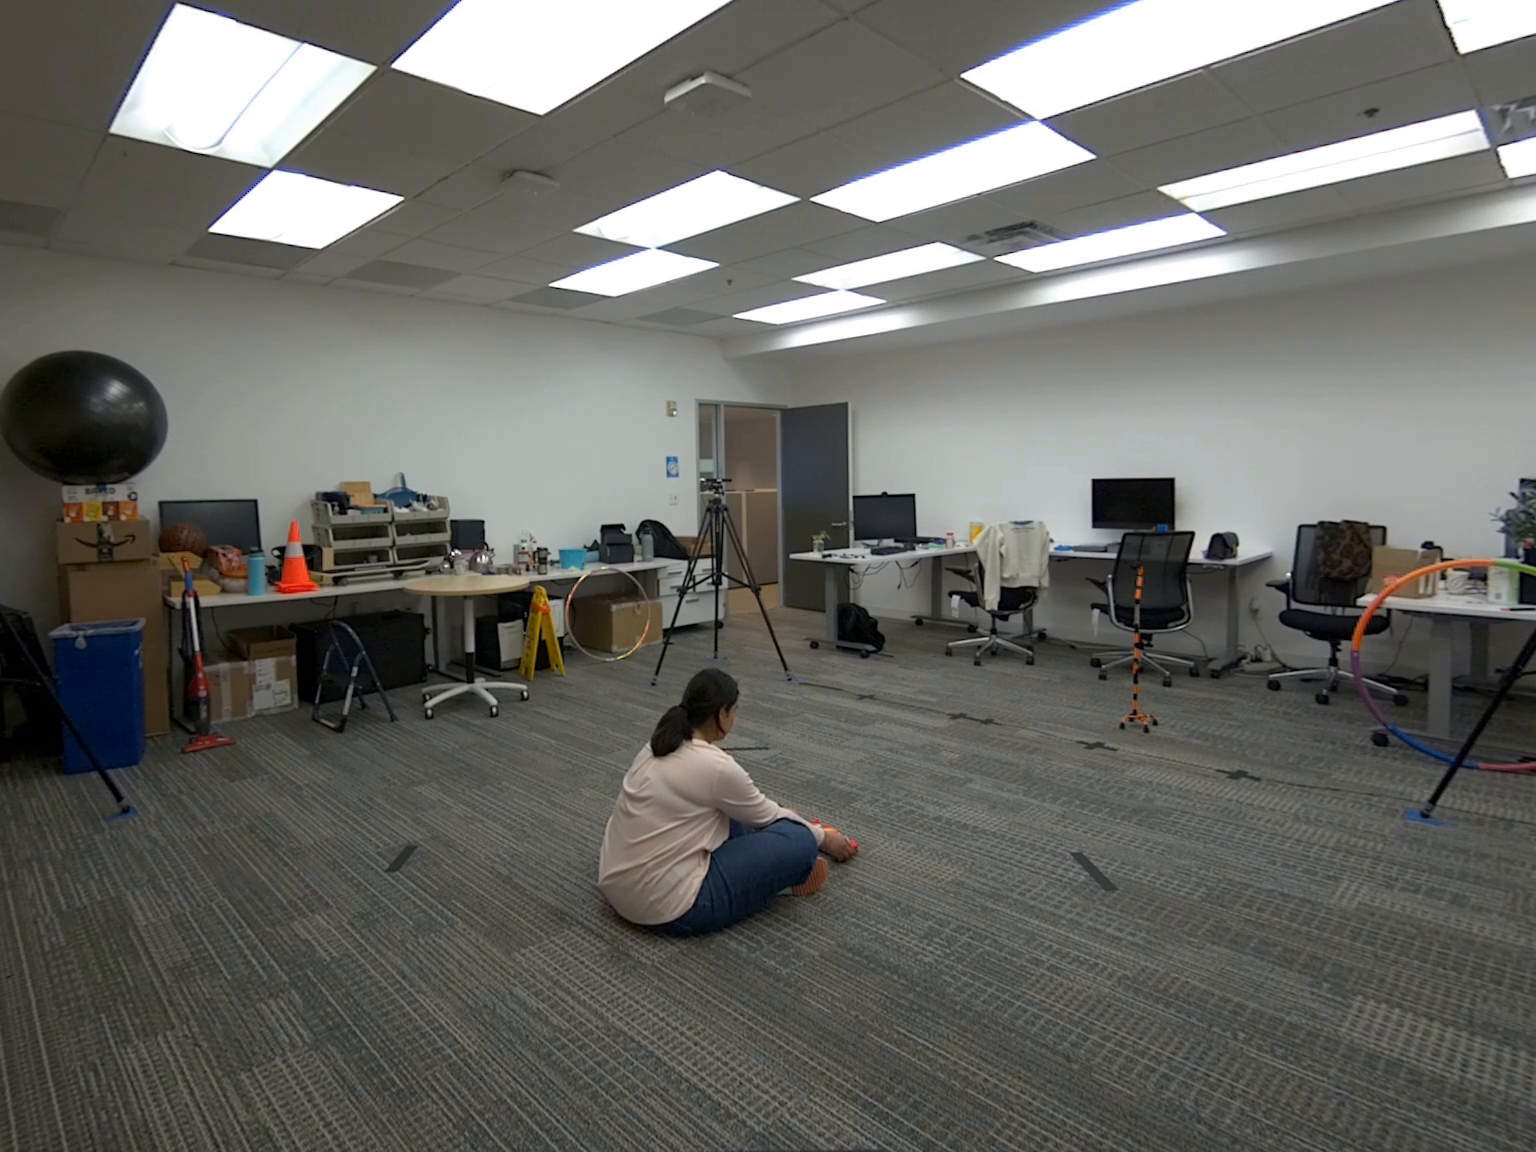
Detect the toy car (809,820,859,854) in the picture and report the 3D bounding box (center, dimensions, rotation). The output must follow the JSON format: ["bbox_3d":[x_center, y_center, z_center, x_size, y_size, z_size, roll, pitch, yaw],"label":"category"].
[{"bbox_3d":[0.220,0.983,3.219,0.127,0.082,0.264,-6,20,-37],"label":"toy car"}]
